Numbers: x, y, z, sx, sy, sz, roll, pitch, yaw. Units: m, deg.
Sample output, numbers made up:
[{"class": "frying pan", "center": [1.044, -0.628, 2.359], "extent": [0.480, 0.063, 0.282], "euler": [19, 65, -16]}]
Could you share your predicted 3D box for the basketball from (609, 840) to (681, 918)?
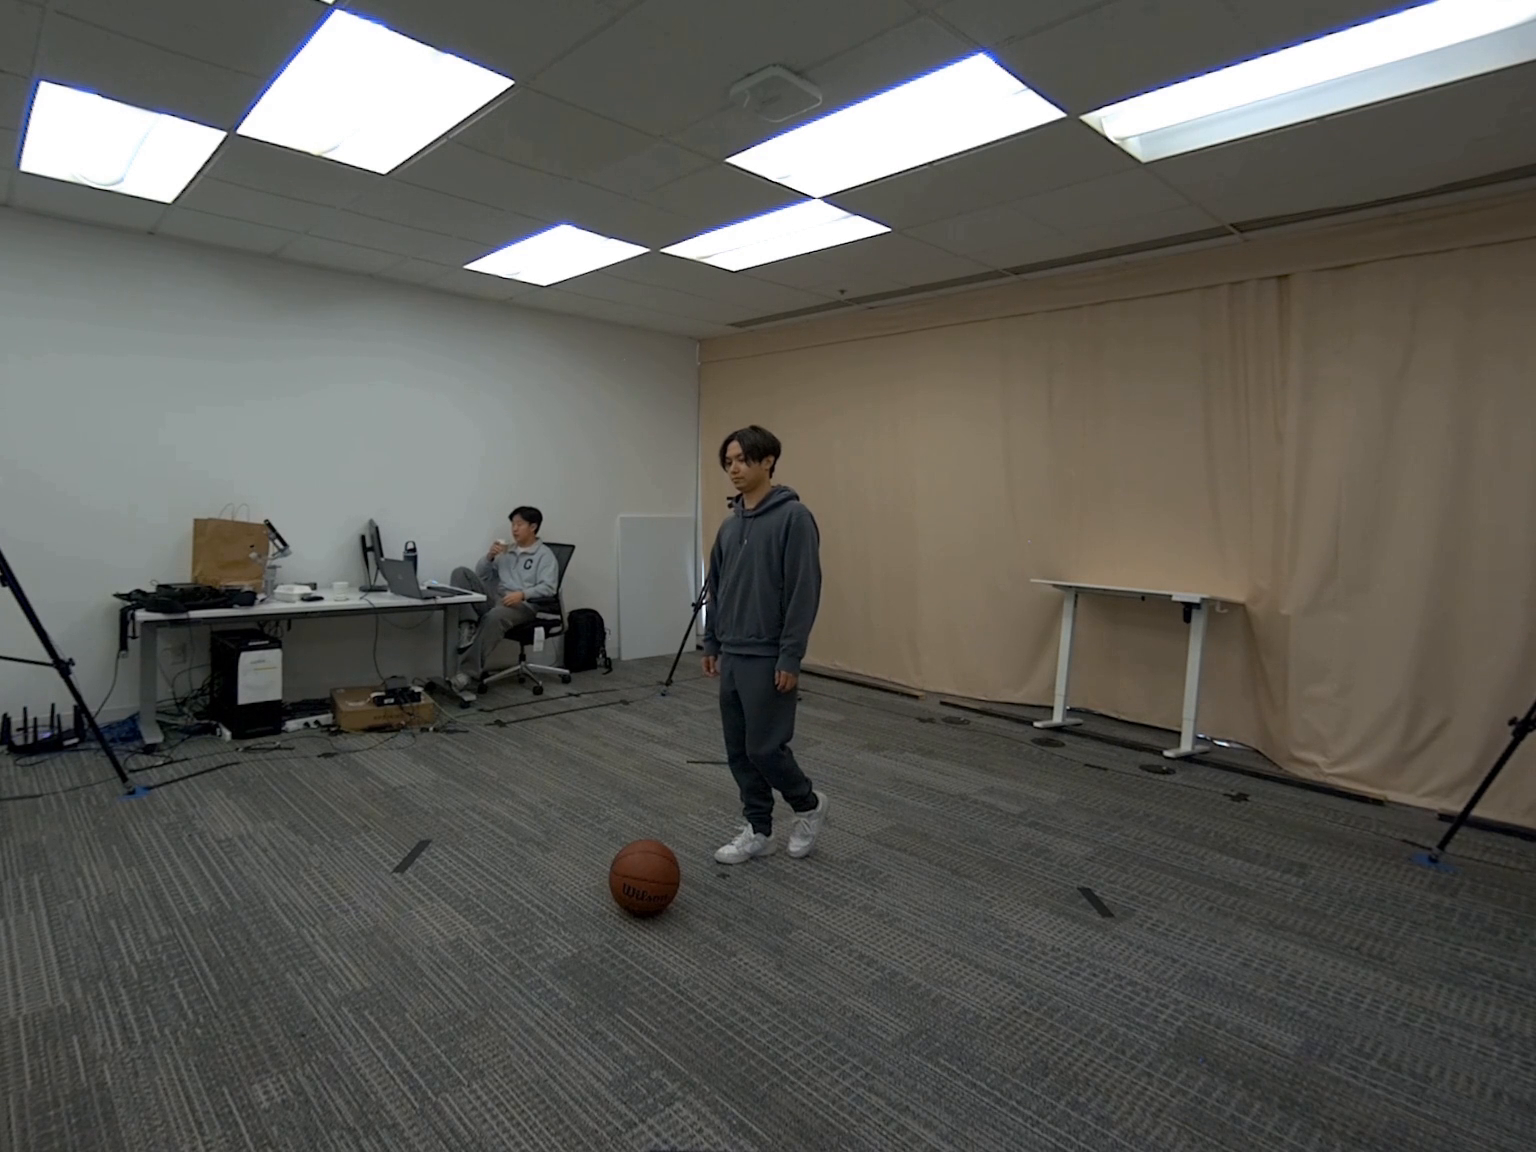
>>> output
[{"class": "basketball", "center": [-0.415, 1.005, 2.811], "extent": [0.236, 0.235, 0.237], "euler": [1, 4, -1]}]
